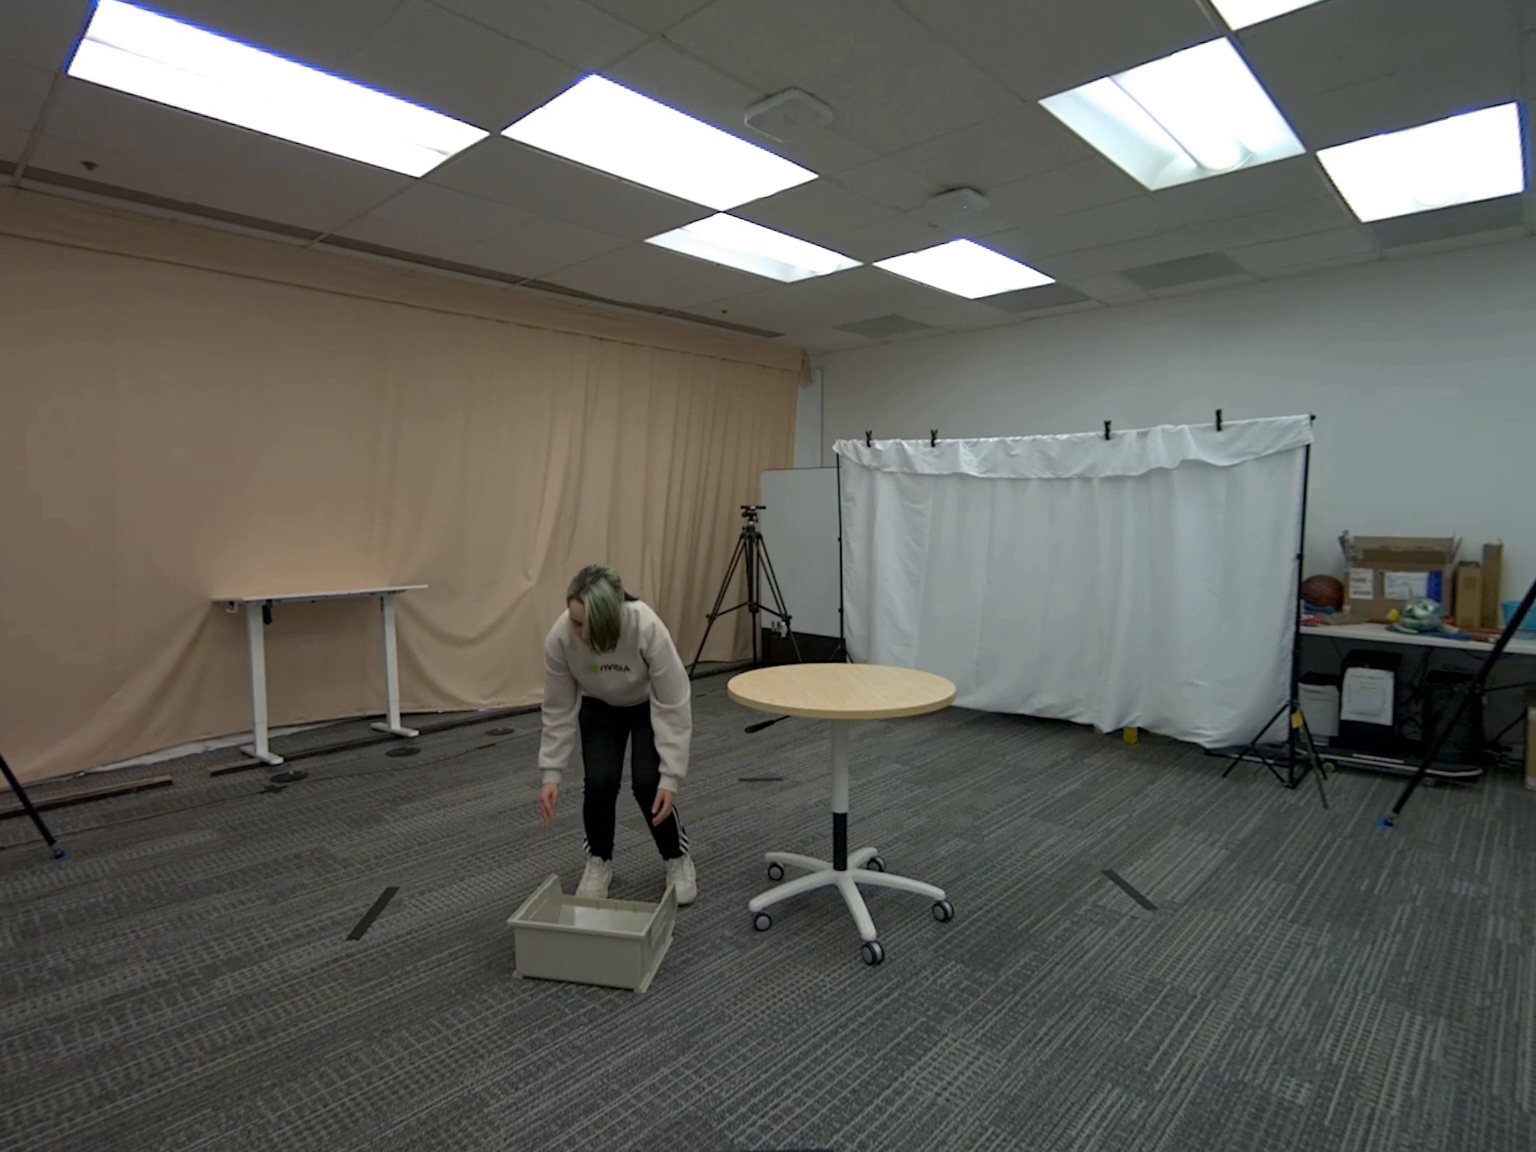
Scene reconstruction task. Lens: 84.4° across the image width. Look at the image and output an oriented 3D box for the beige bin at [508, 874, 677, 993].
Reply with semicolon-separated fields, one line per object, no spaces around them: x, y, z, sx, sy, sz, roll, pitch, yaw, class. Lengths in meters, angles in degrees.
-0.530;1.089;2.613;0.427;0.188;0.374;1;4;10;beige bin
